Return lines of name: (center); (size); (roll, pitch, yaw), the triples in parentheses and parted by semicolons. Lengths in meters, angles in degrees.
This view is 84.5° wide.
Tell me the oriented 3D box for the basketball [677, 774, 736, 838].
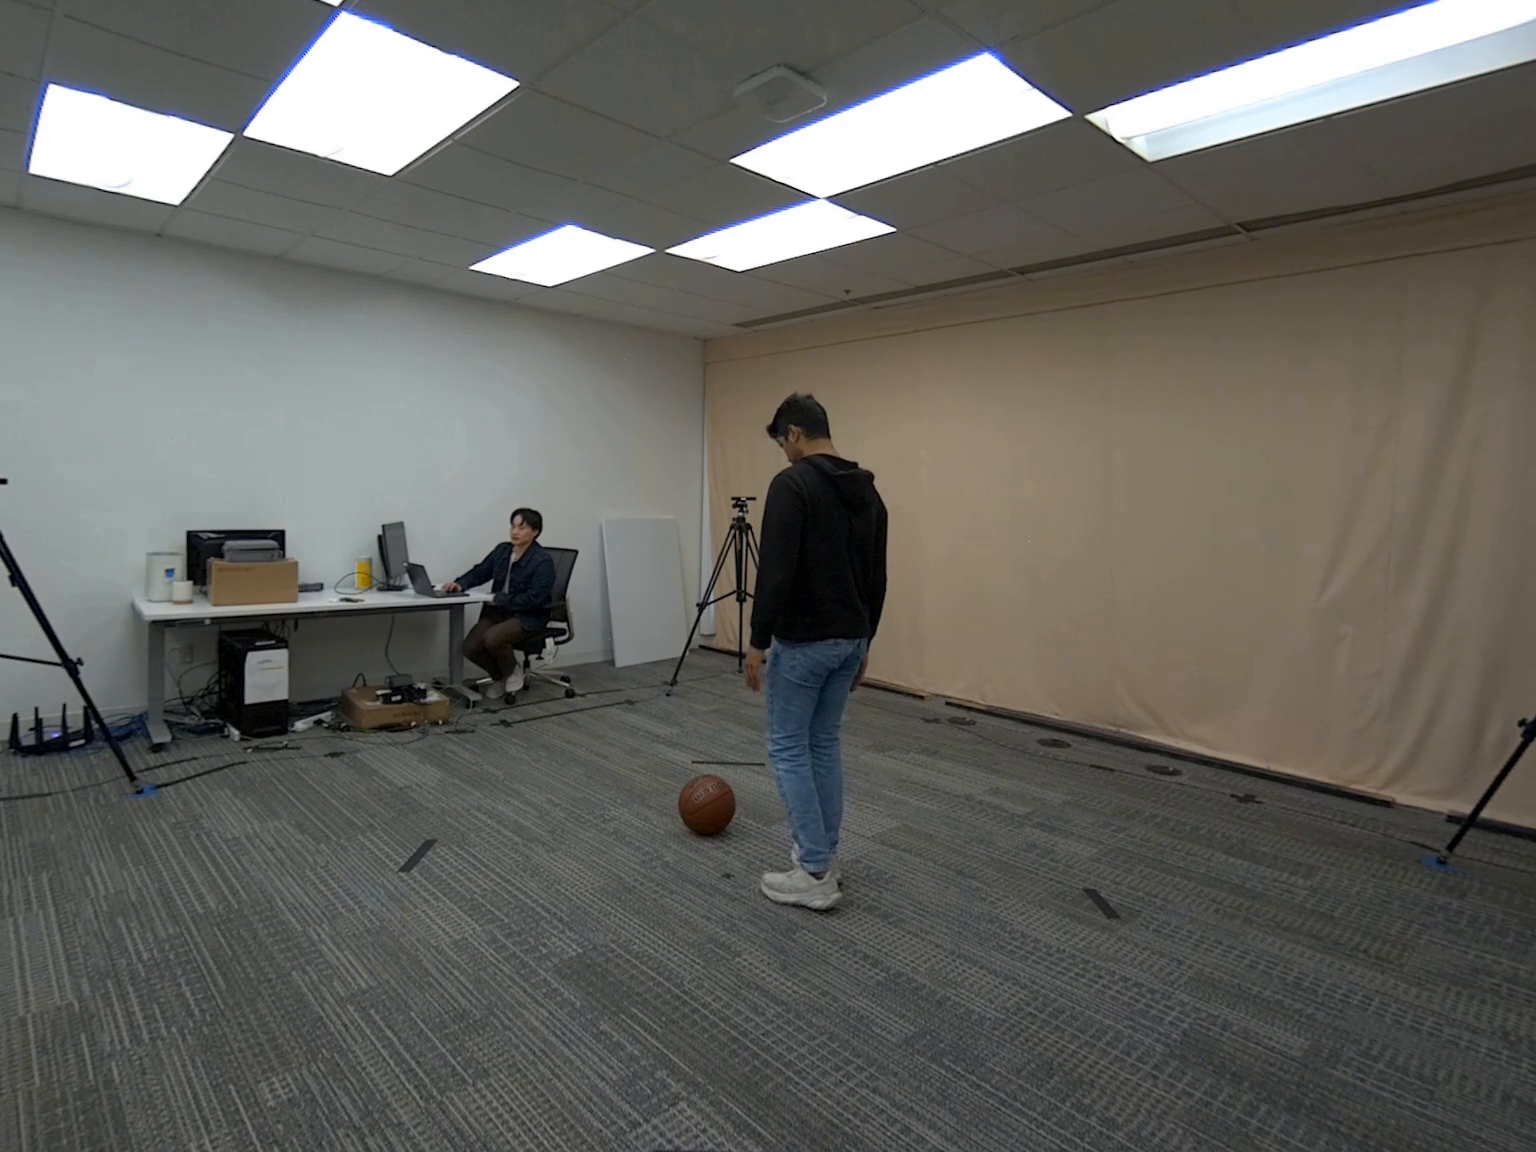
basketball: (-0.258, 0.948, 3.499); (0.236, 0.235, 0.237); (1, 4, -1)
